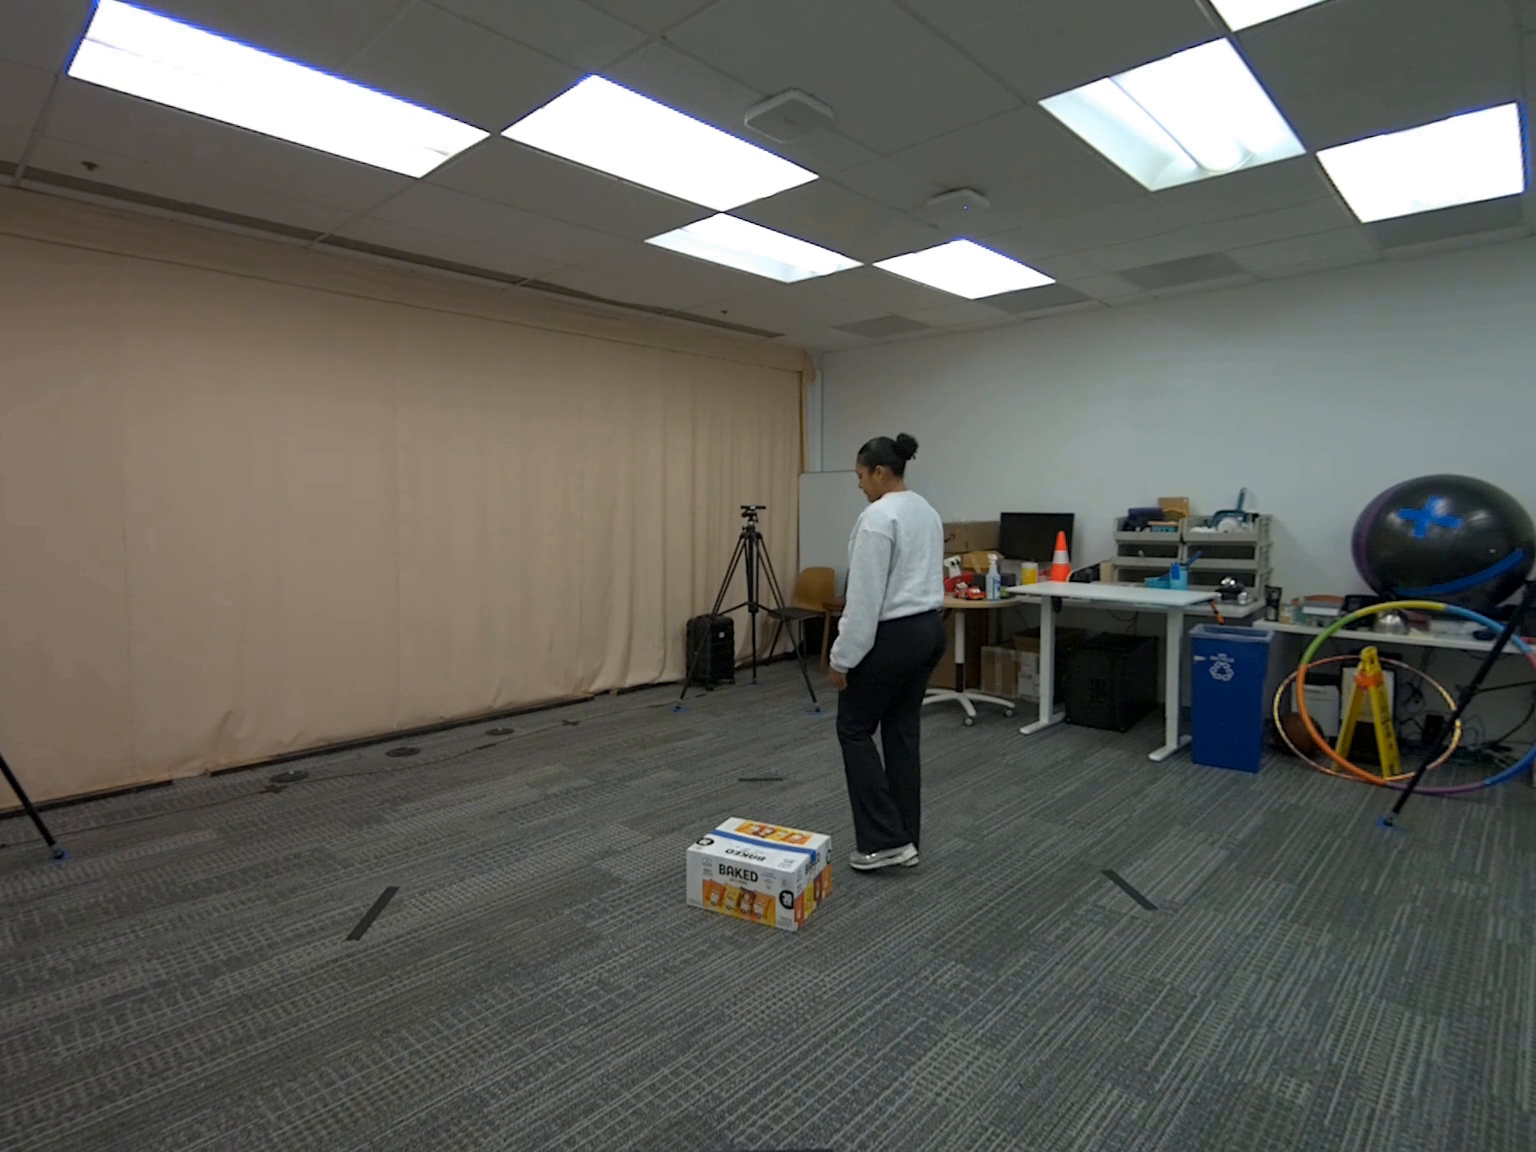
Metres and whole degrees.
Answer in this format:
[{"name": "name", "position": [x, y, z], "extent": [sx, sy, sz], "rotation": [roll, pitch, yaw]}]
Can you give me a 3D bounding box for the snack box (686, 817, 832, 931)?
[{"name": "snack box", "position": [-0.024, 1.043, 2.979], "extent": [0.416, 0.205, 0.332], "rotation": [2, 5, 27]}]
